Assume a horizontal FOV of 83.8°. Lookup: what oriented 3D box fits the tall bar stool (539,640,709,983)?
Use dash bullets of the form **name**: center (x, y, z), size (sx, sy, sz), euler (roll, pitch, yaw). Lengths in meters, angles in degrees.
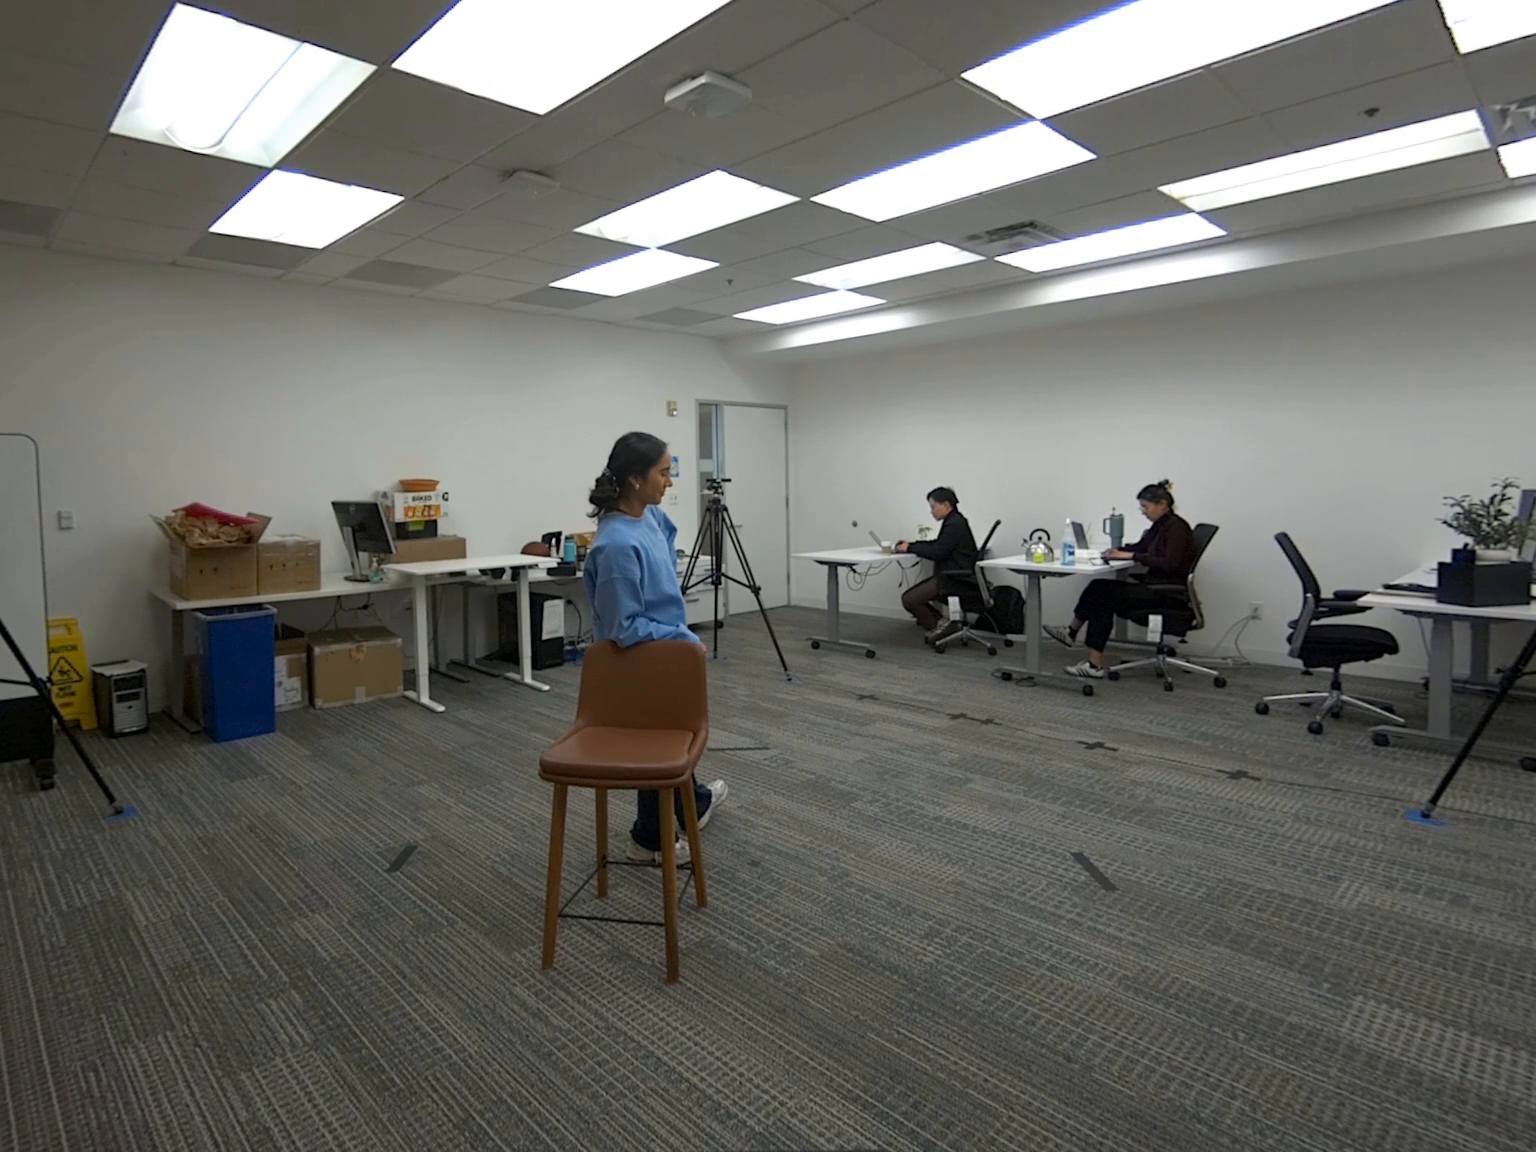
- **tall bar stool**: center (-0.423, 0.676, 2.611), size (0.462, 0.888, 0.463), euler (0, 3, 11)
